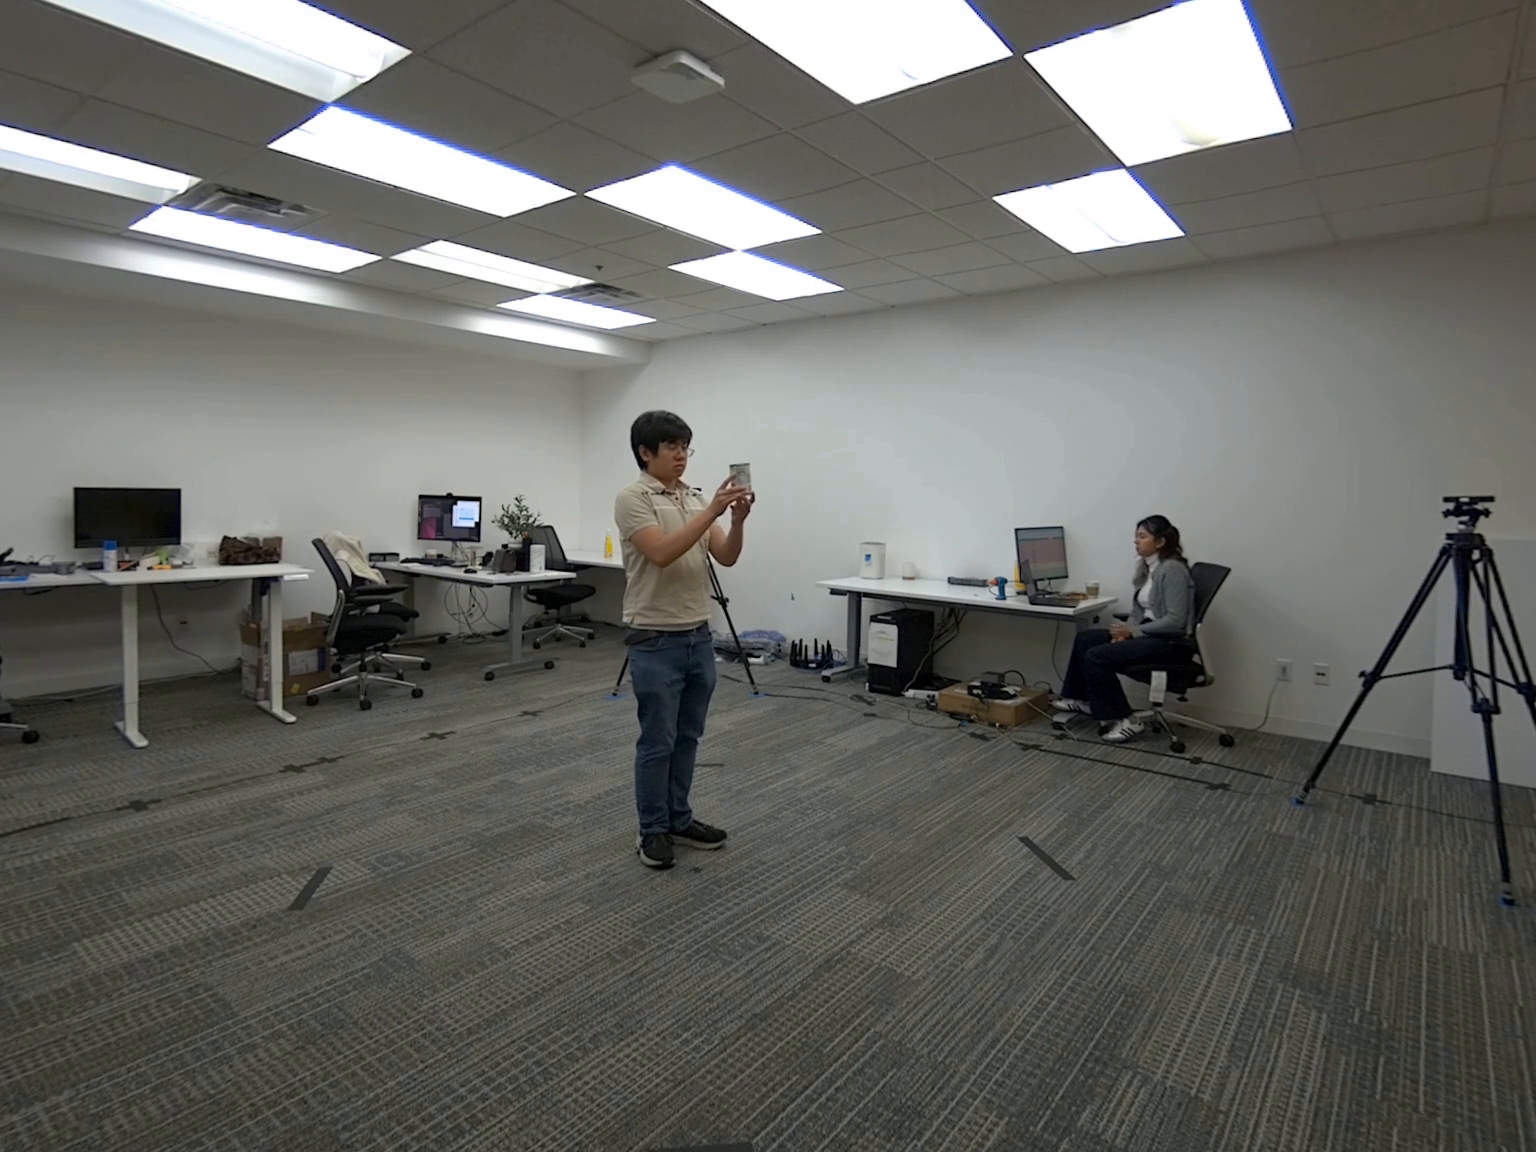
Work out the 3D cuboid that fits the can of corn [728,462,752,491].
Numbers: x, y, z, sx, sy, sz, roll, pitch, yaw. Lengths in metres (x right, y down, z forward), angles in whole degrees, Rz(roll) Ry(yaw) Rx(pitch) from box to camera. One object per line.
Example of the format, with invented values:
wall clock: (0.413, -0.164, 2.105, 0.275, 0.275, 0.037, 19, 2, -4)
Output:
can of corn: (-0.109, -0.350, 3.044, 0.074, 0.110, 0.075, -4, 10, -1)
